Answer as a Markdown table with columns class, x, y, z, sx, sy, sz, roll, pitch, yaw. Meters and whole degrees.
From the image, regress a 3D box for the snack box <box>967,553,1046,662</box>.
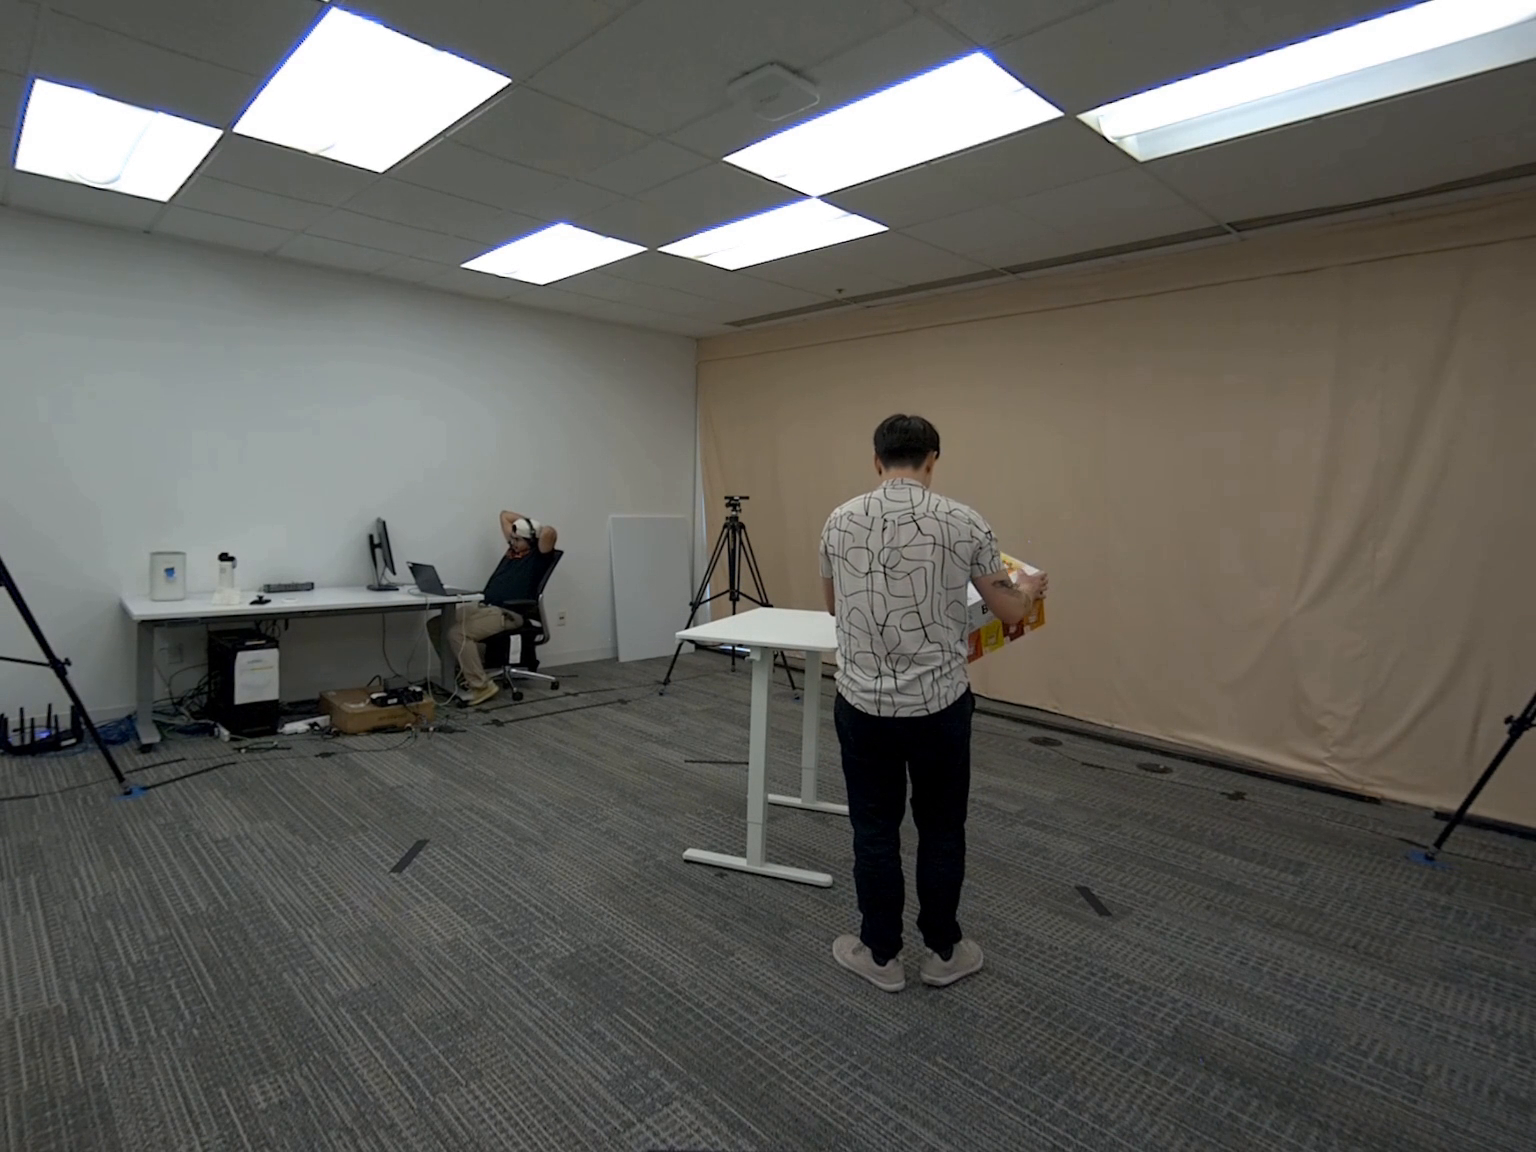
| class | x | y | z | sx | sy | sz | roll | pitch | yaw |
| --- | --- | --- | --- | --- | --- | --- | --- | --- | --- |
| snack box | 0.646 | 0.073 | 2.803 | 0.338 | 0.201 | 0.417 | -24 | 29 | -18 |
